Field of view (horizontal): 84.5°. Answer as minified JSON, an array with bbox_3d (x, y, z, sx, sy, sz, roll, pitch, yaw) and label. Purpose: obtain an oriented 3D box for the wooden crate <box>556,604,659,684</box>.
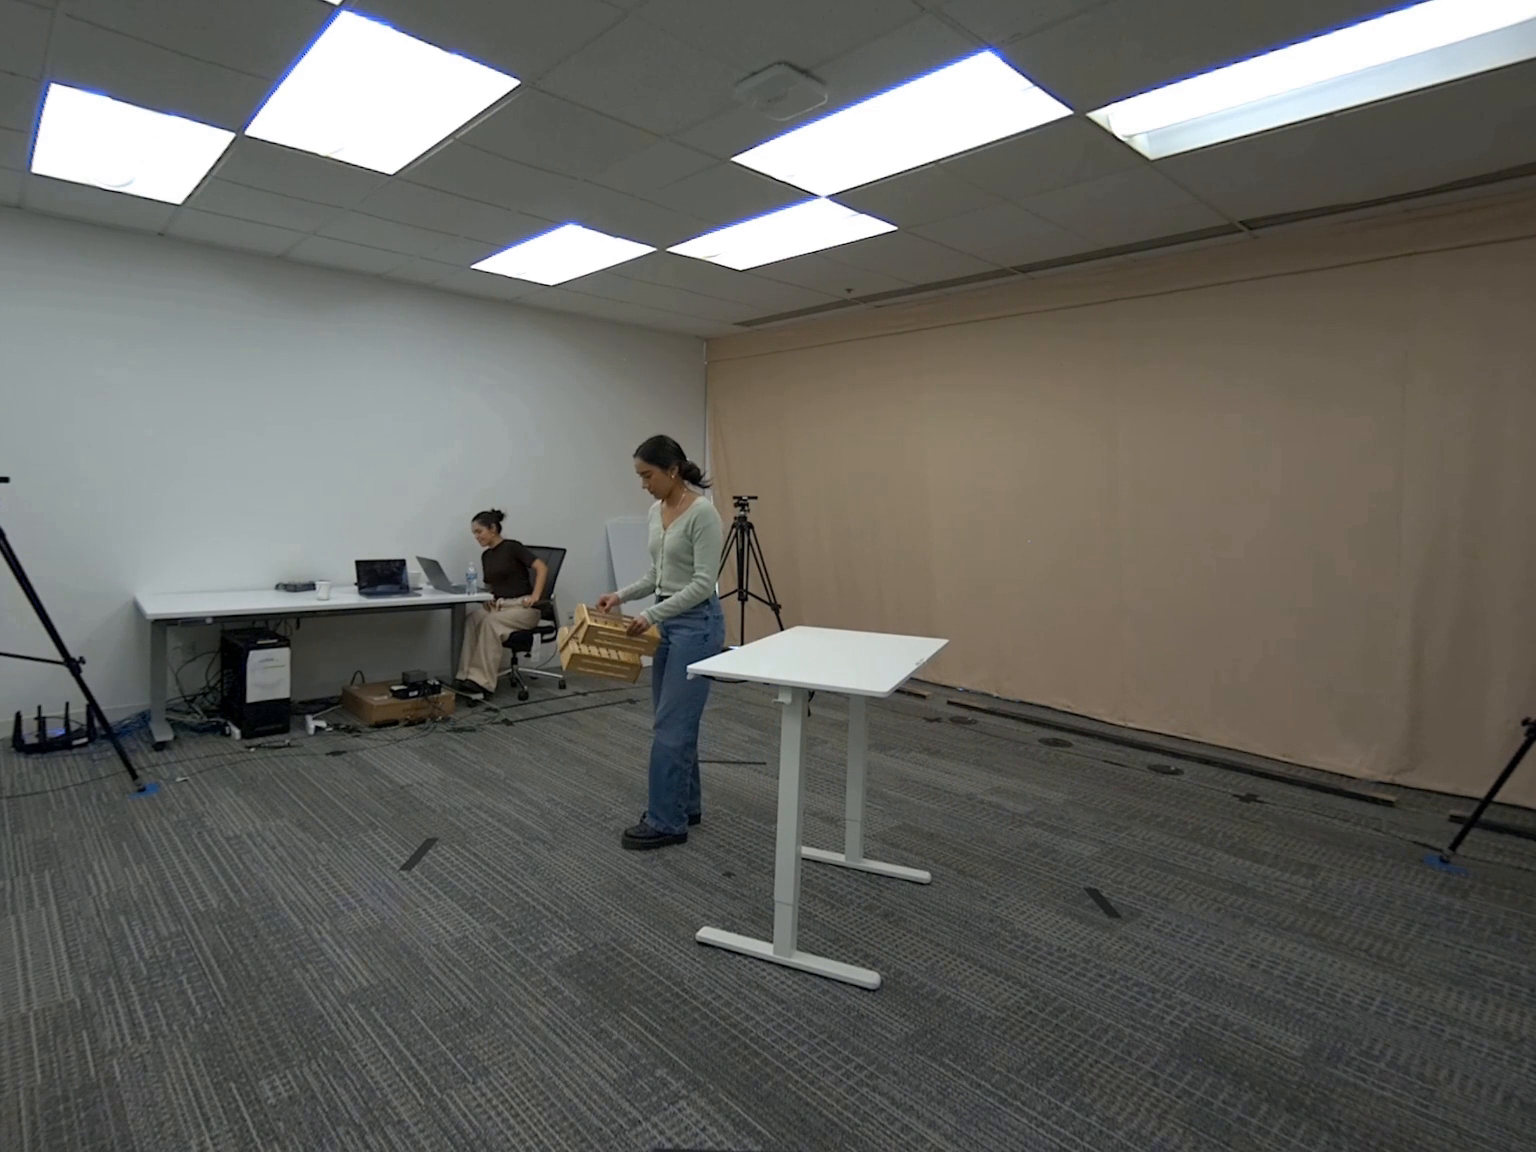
[{"bbox_3d":[-0.646,0.243,3.375,0.317,0.271,0.311,14,23,-26],"label":"wooden crate"}]
